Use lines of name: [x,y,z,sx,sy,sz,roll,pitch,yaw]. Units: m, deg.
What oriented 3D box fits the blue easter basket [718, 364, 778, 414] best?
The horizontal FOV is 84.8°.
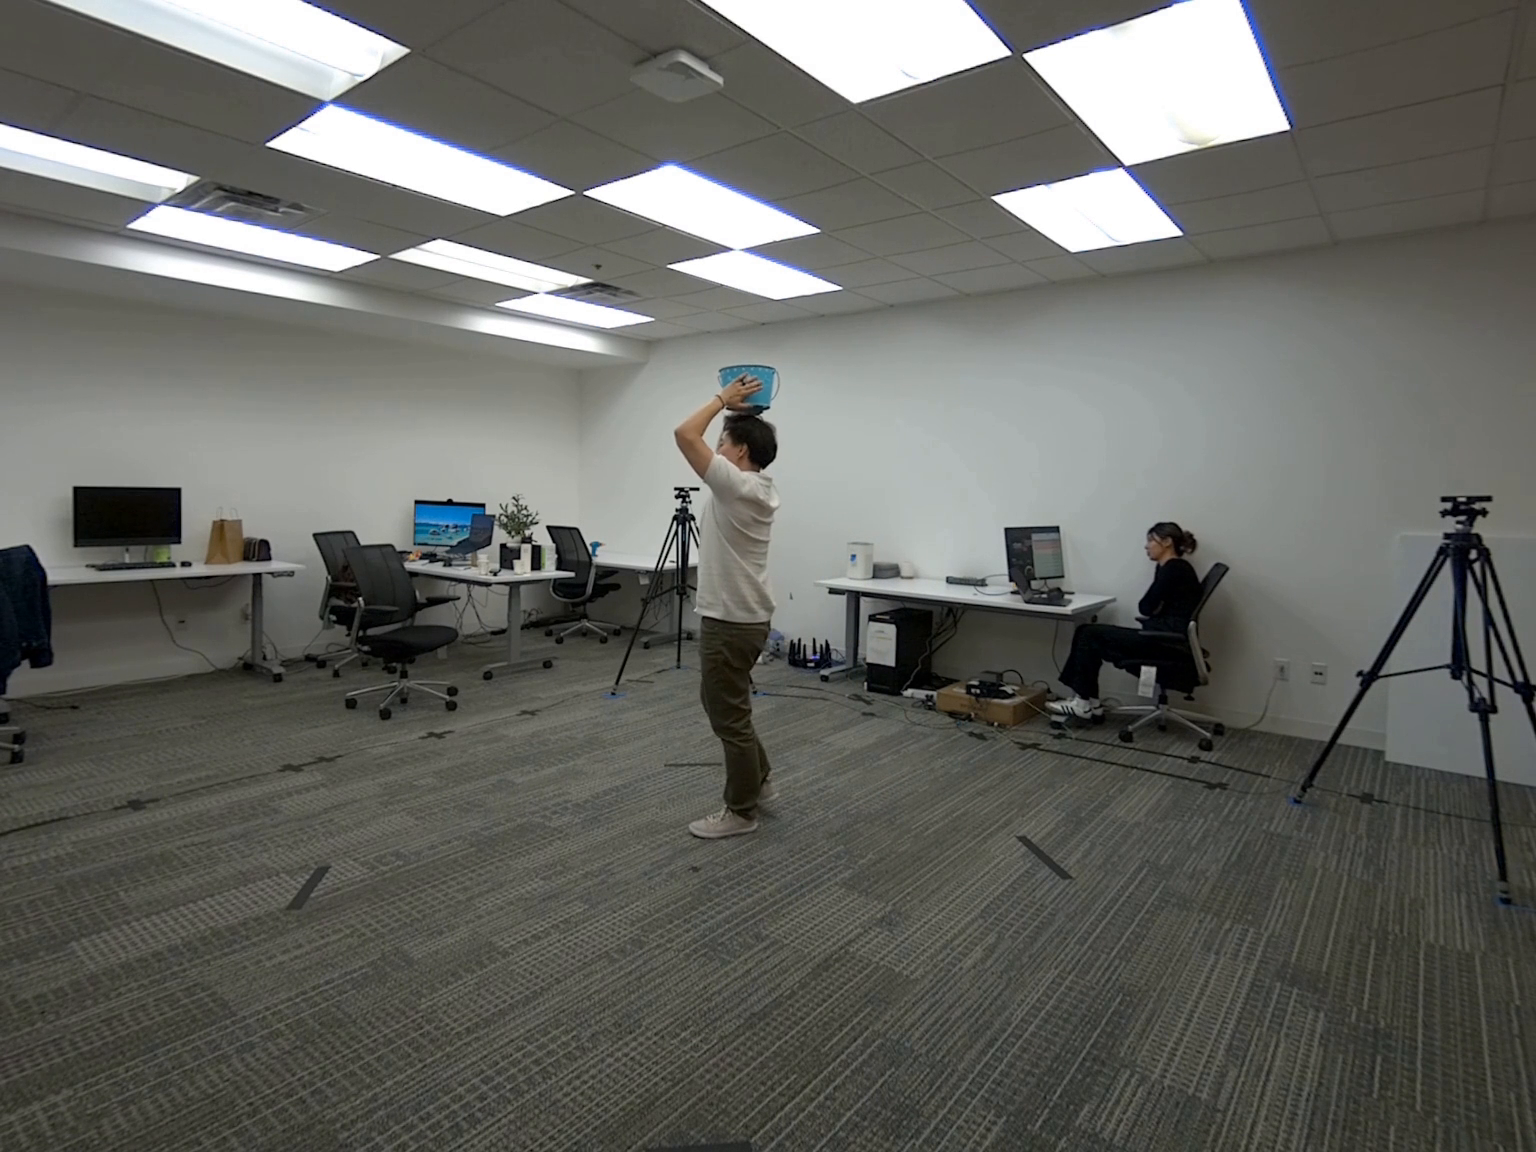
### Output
blue easter basket: [-0.083,-0.758,3.424,0.243,0.156,0.244,2,2,-2]
